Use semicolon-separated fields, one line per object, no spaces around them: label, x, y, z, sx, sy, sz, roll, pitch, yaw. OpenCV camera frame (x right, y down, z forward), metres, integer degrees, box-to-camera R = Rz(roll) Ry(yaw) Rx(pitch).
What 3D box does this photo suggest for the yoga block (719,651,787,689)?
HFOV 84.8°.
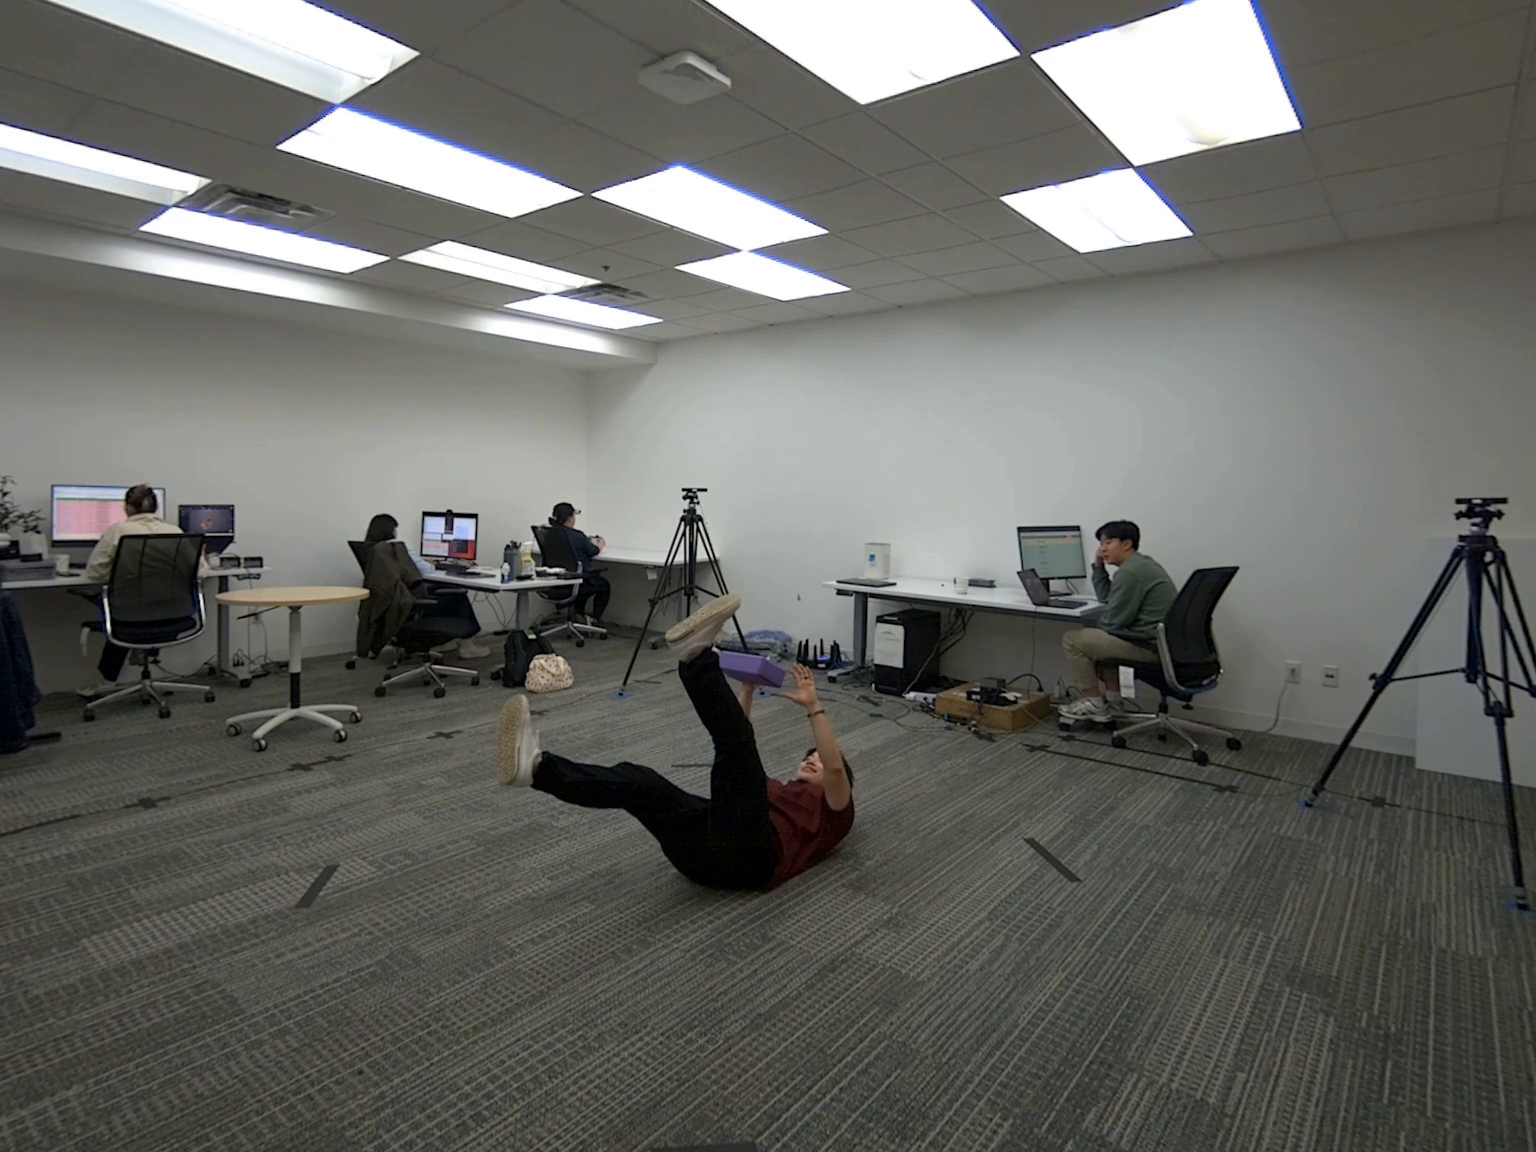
yoga block;-0.071;0.355;3.257;0.236;0.077;0.143;-1;-27;47
